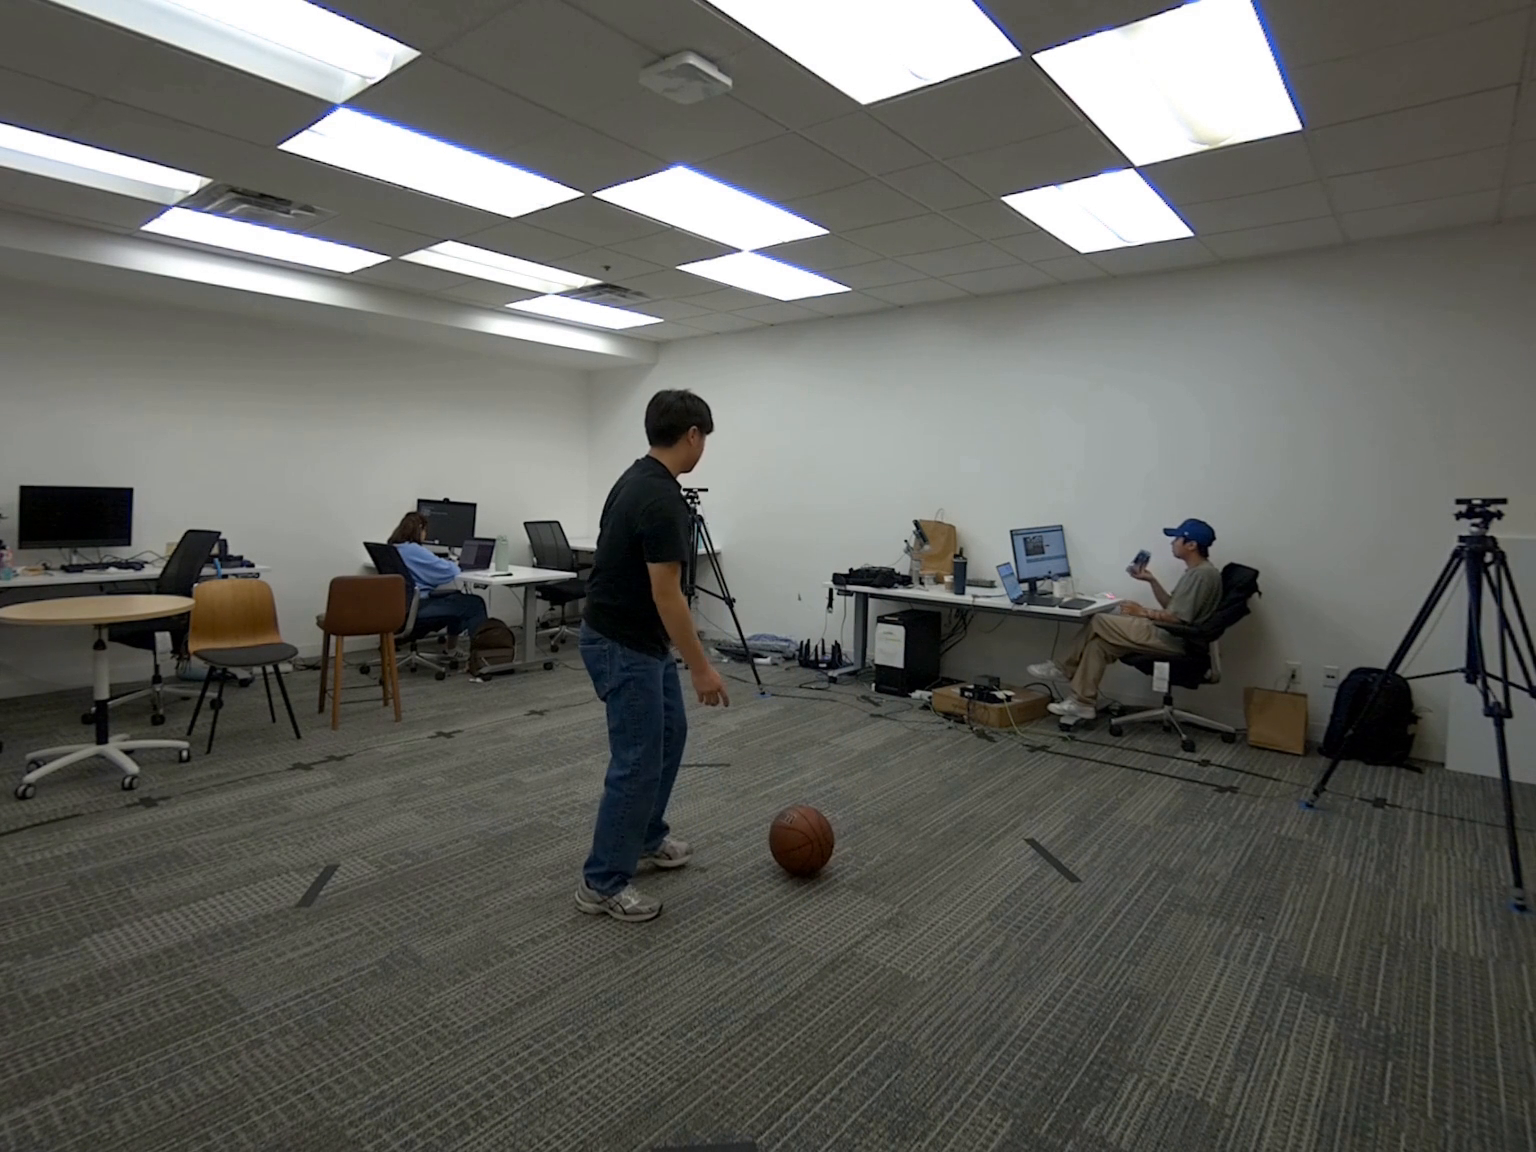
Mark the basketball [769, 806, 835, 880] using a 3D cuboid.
[{"bbox_3d":[0.112,0.960,3.098,0.235,0.235,0.237,1,4,-2],"label":"basketball"}]
